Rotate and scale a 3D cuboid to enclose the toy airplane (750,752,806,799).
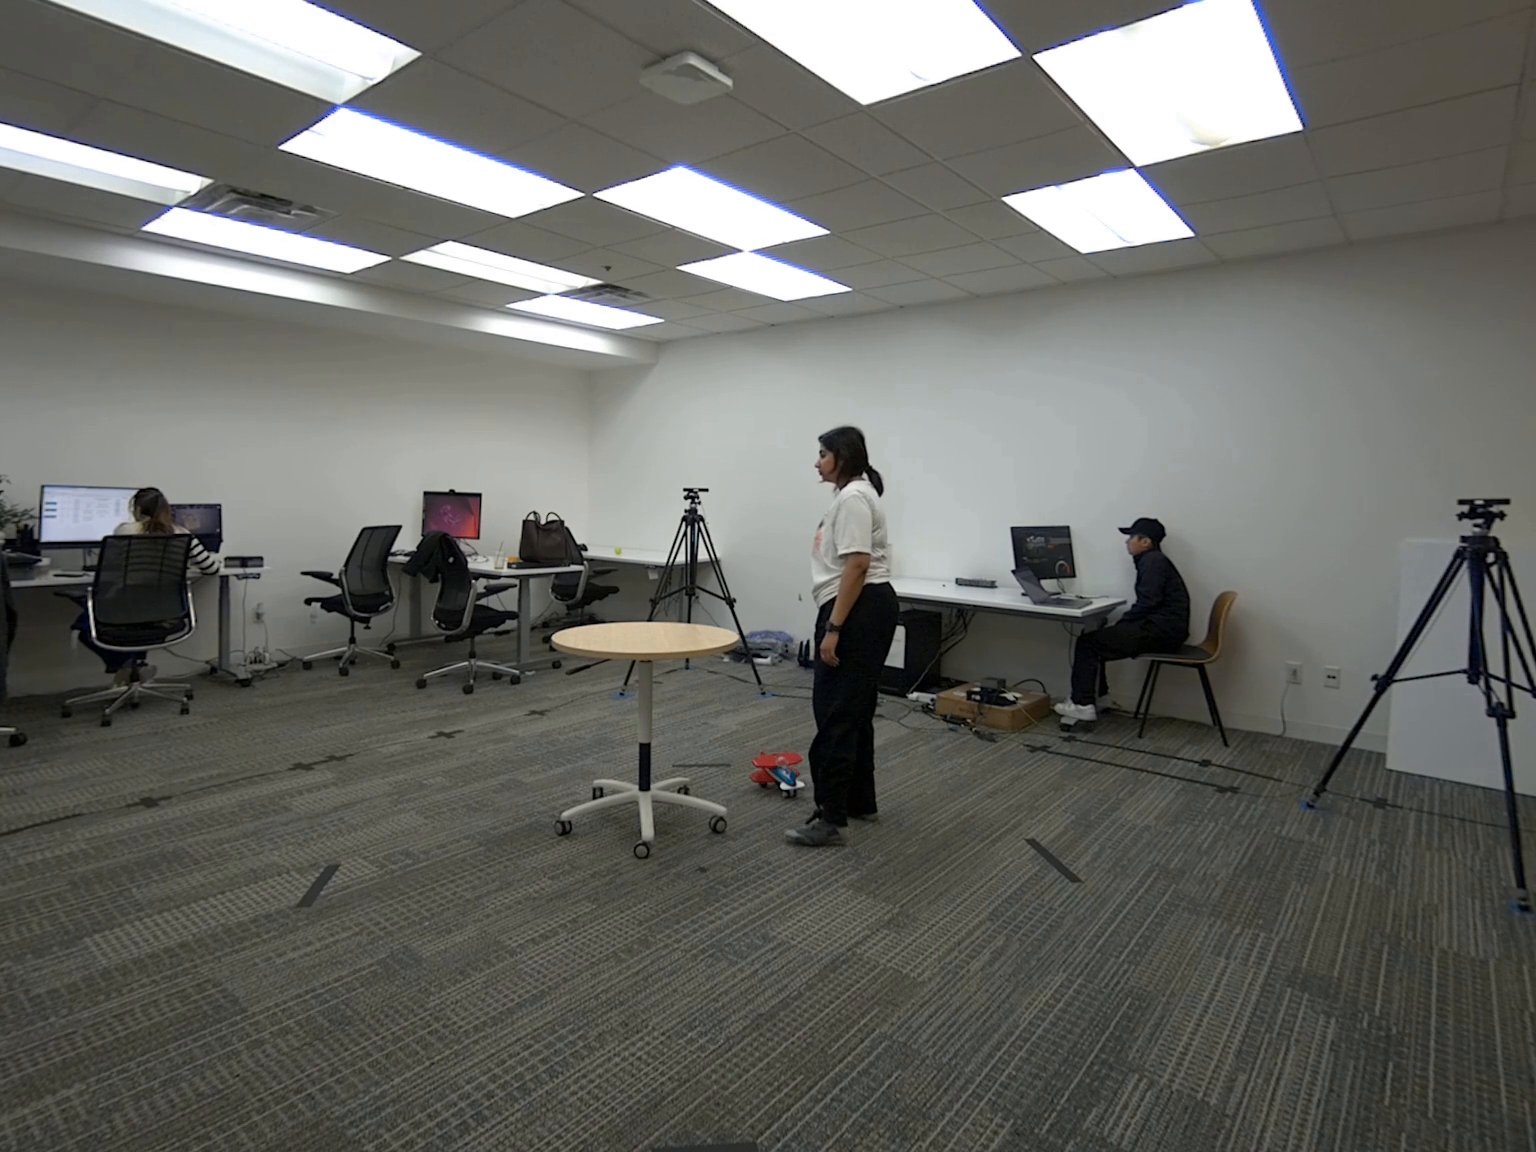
[{"bbox_3d":[0.061,0.920,3.962,0.267,0.156,0.244,4,5,34],"label":"toy airplane"}]
